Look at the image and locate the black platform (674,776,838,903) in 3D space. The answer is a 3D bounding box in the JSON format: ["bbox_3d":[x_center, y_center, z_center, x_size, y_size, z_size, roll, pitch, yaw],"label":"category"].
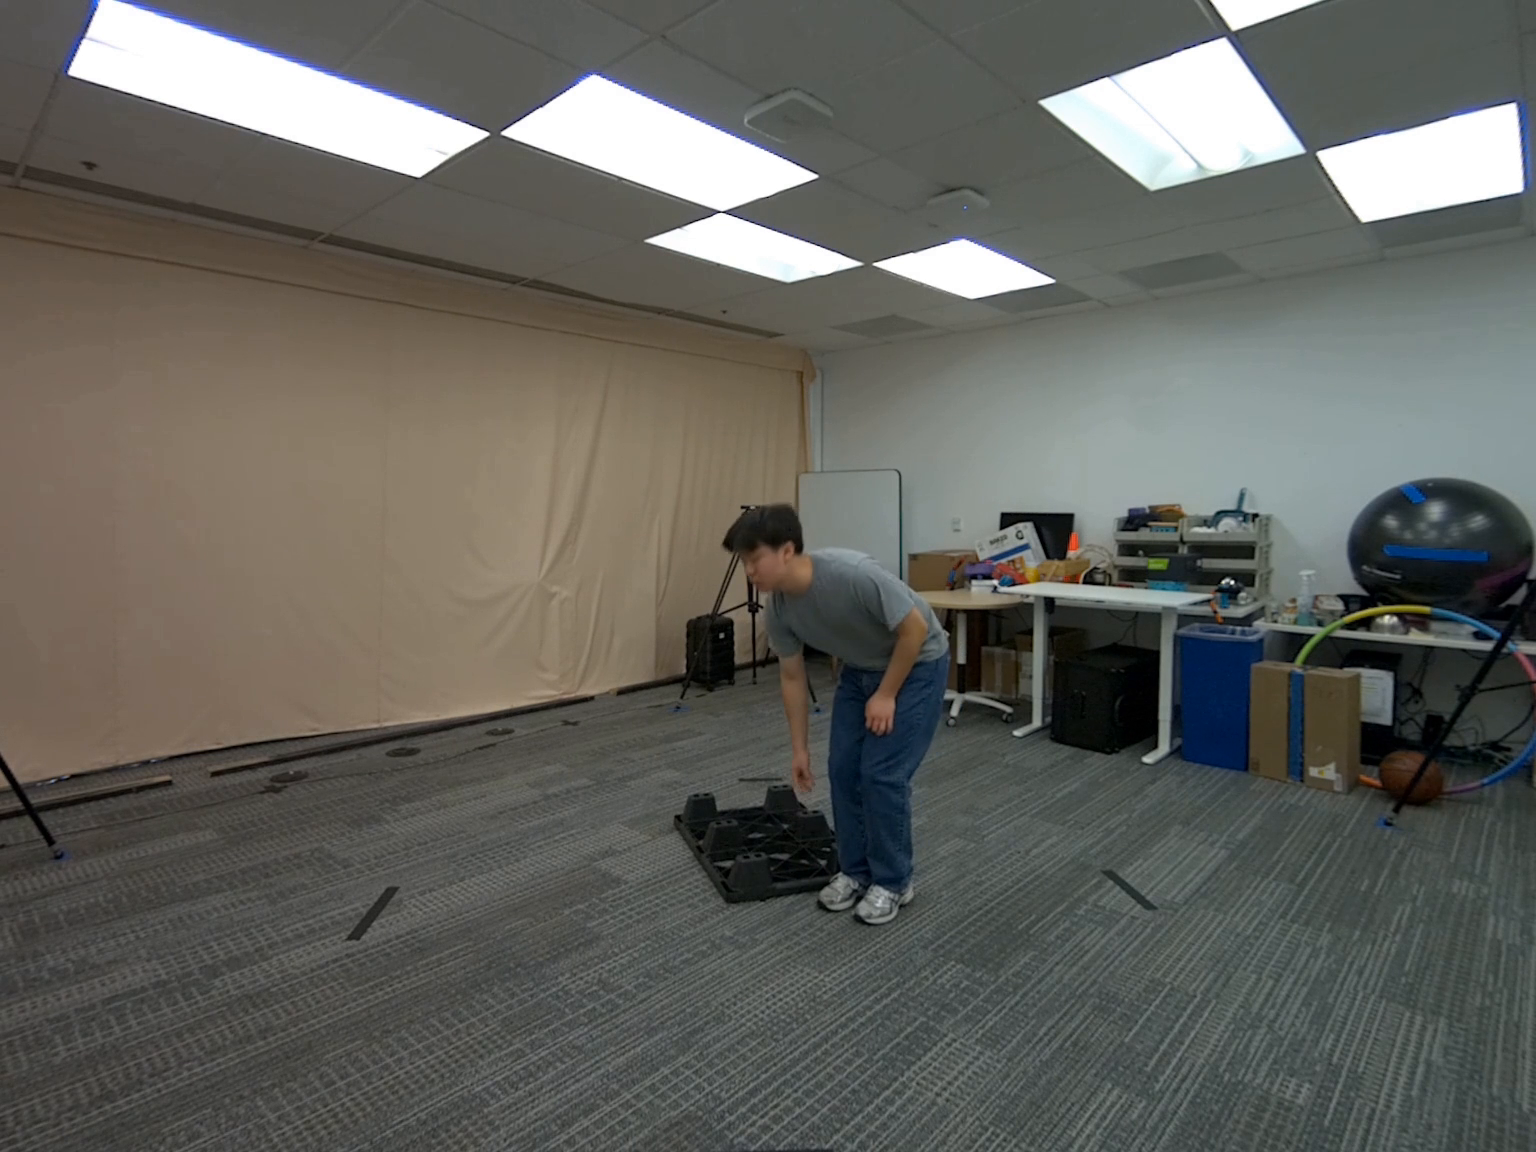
[{"bbox_3d":[0.008,1.042,3.393,0.594,0.143,0.823,-2,5,-19],"label":"black platform"}]
